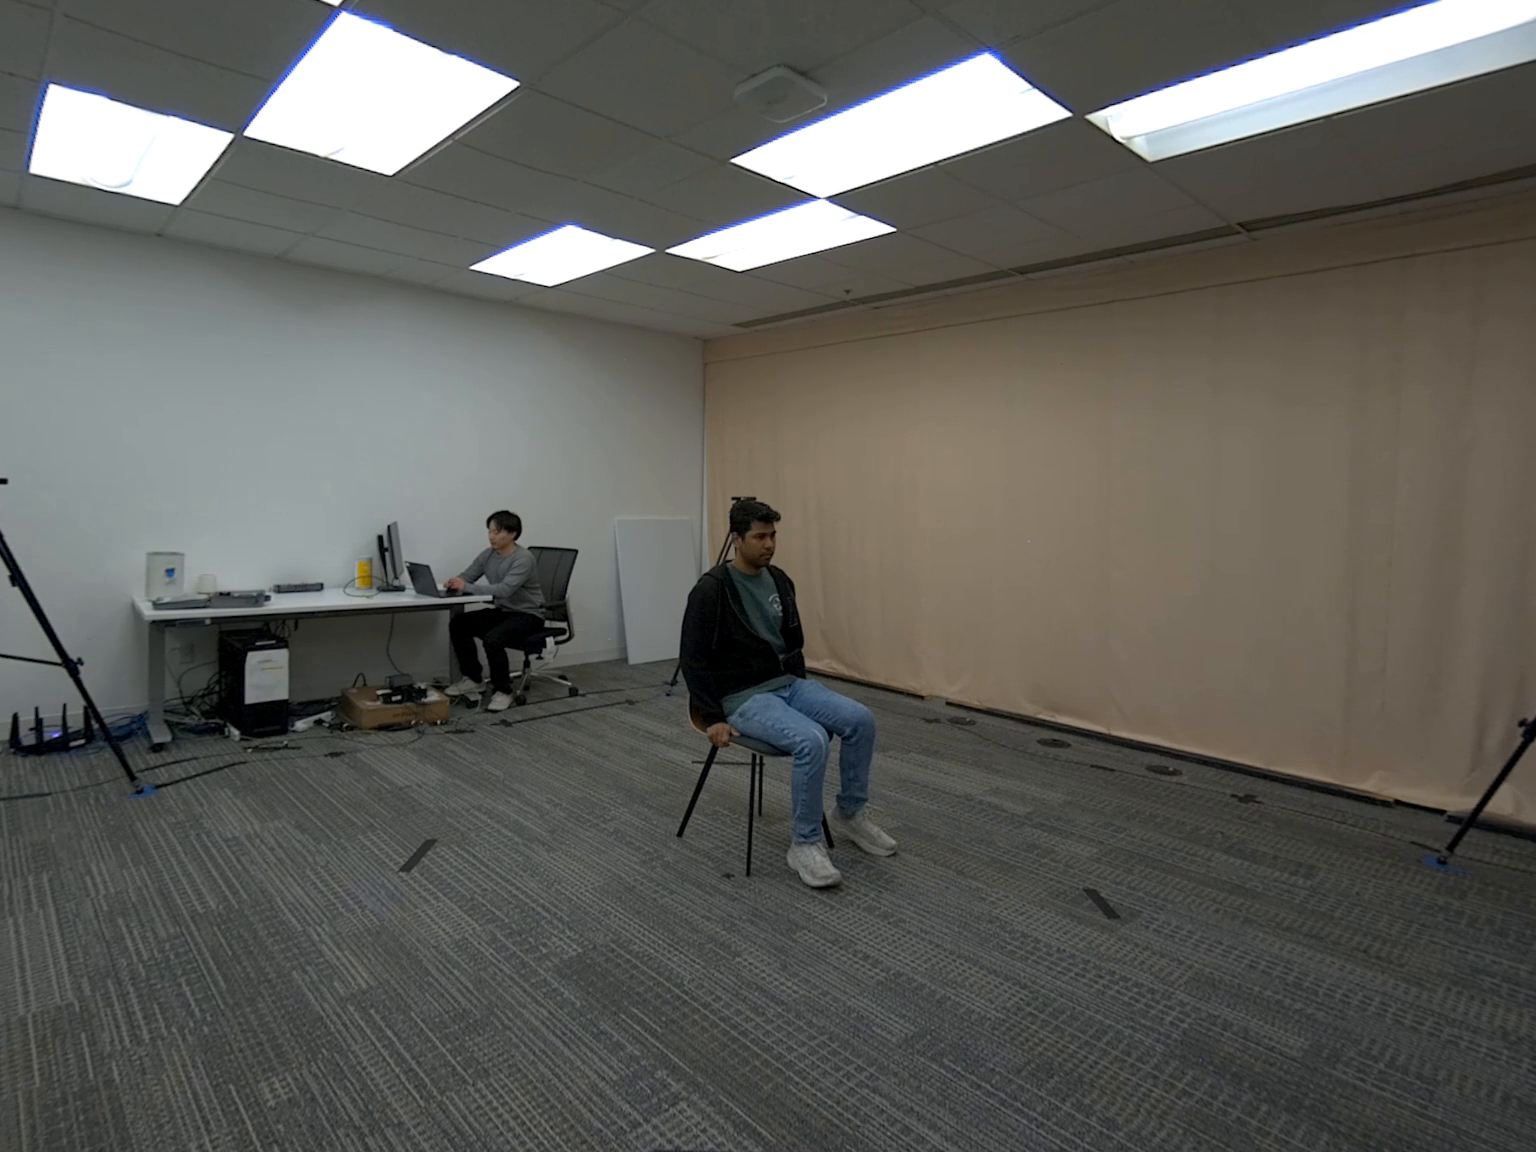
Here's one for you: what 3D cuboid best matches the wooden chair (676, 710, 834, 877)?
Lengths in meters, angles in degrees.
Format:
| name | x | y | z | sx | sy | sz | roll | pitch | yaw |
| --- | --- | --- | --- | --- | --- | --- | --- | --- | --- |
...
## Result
| name | x | y | z | sx | sy | sz | roll | pitch | yaw |
| --- | --- | --- | --- | --- | --- | --- | --- | --- | --- |
| wooden chair | -0.046 | 0.655 | 3.379 | 0.467 | 0.878 | 0.535 | -1 | -1 | -40 |
